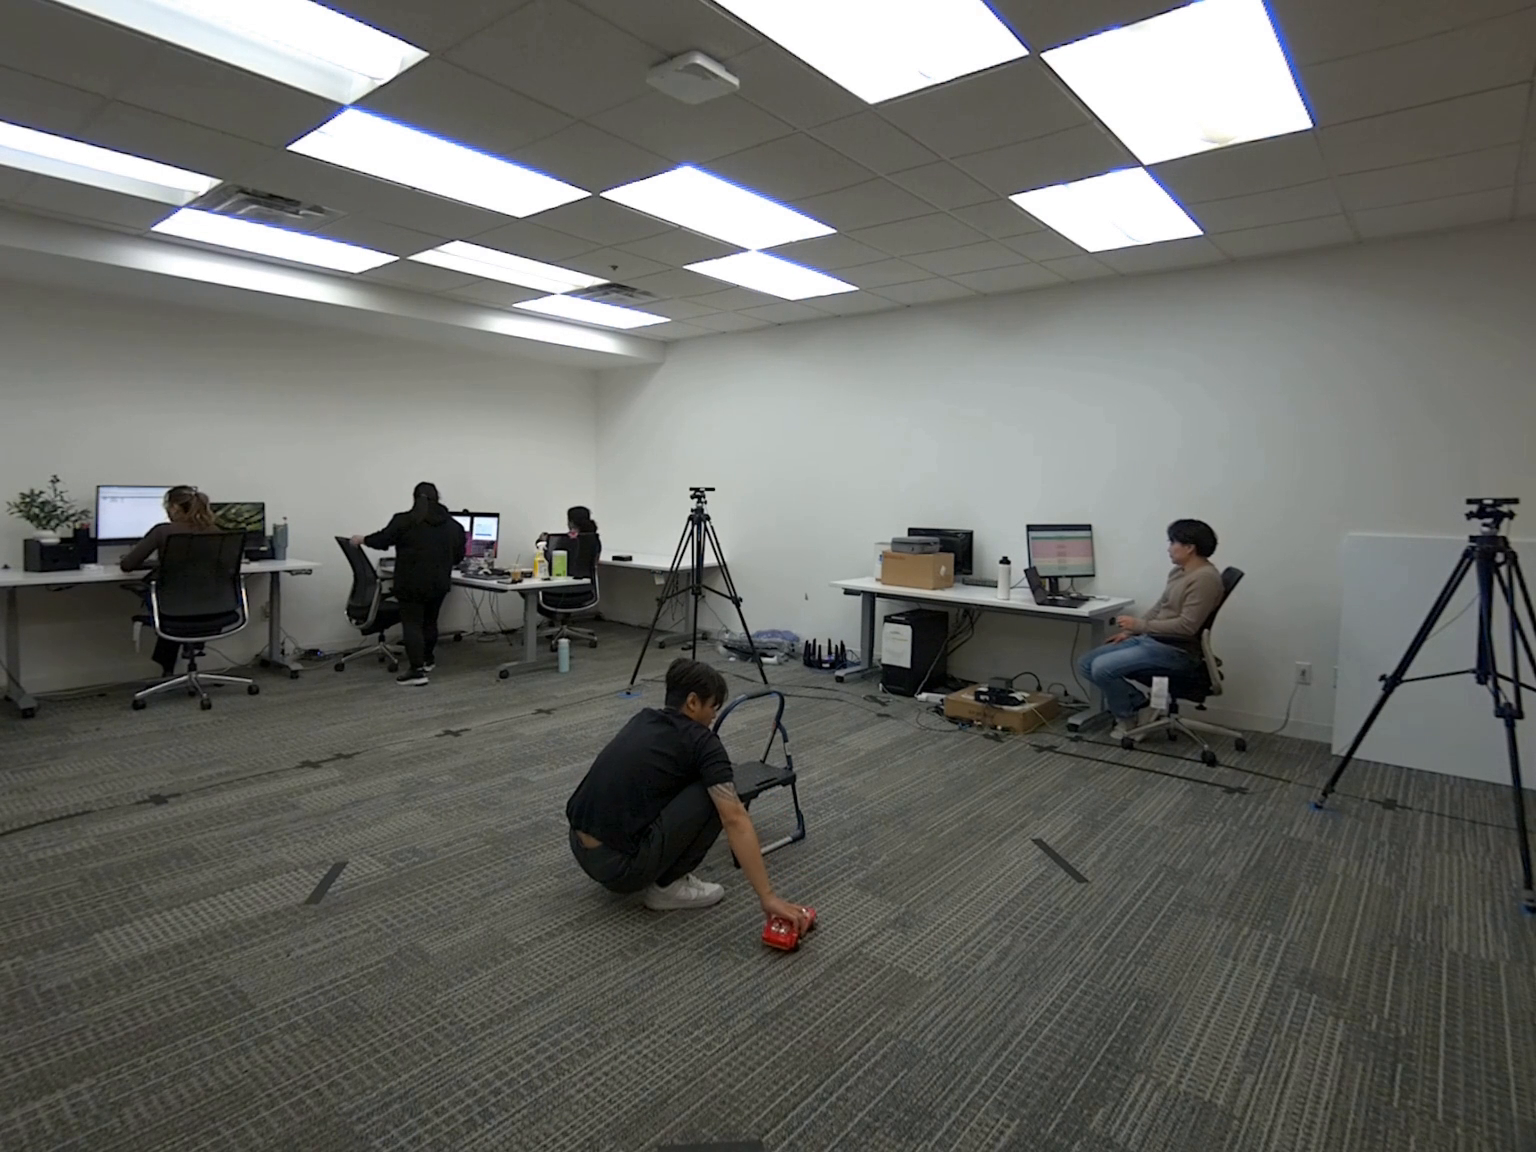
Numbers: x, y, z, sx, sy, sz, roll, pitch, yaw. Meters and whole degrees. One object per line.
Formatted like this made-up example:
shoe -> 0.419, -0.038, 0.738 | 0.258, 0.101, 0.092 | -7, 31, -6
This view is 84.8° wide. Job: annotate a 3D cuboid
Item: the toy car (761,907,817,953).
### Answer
toy car -> 0.063, 1.092, 2.638 | 0.134, 0.083, 0.246 | 5, -4, 26
